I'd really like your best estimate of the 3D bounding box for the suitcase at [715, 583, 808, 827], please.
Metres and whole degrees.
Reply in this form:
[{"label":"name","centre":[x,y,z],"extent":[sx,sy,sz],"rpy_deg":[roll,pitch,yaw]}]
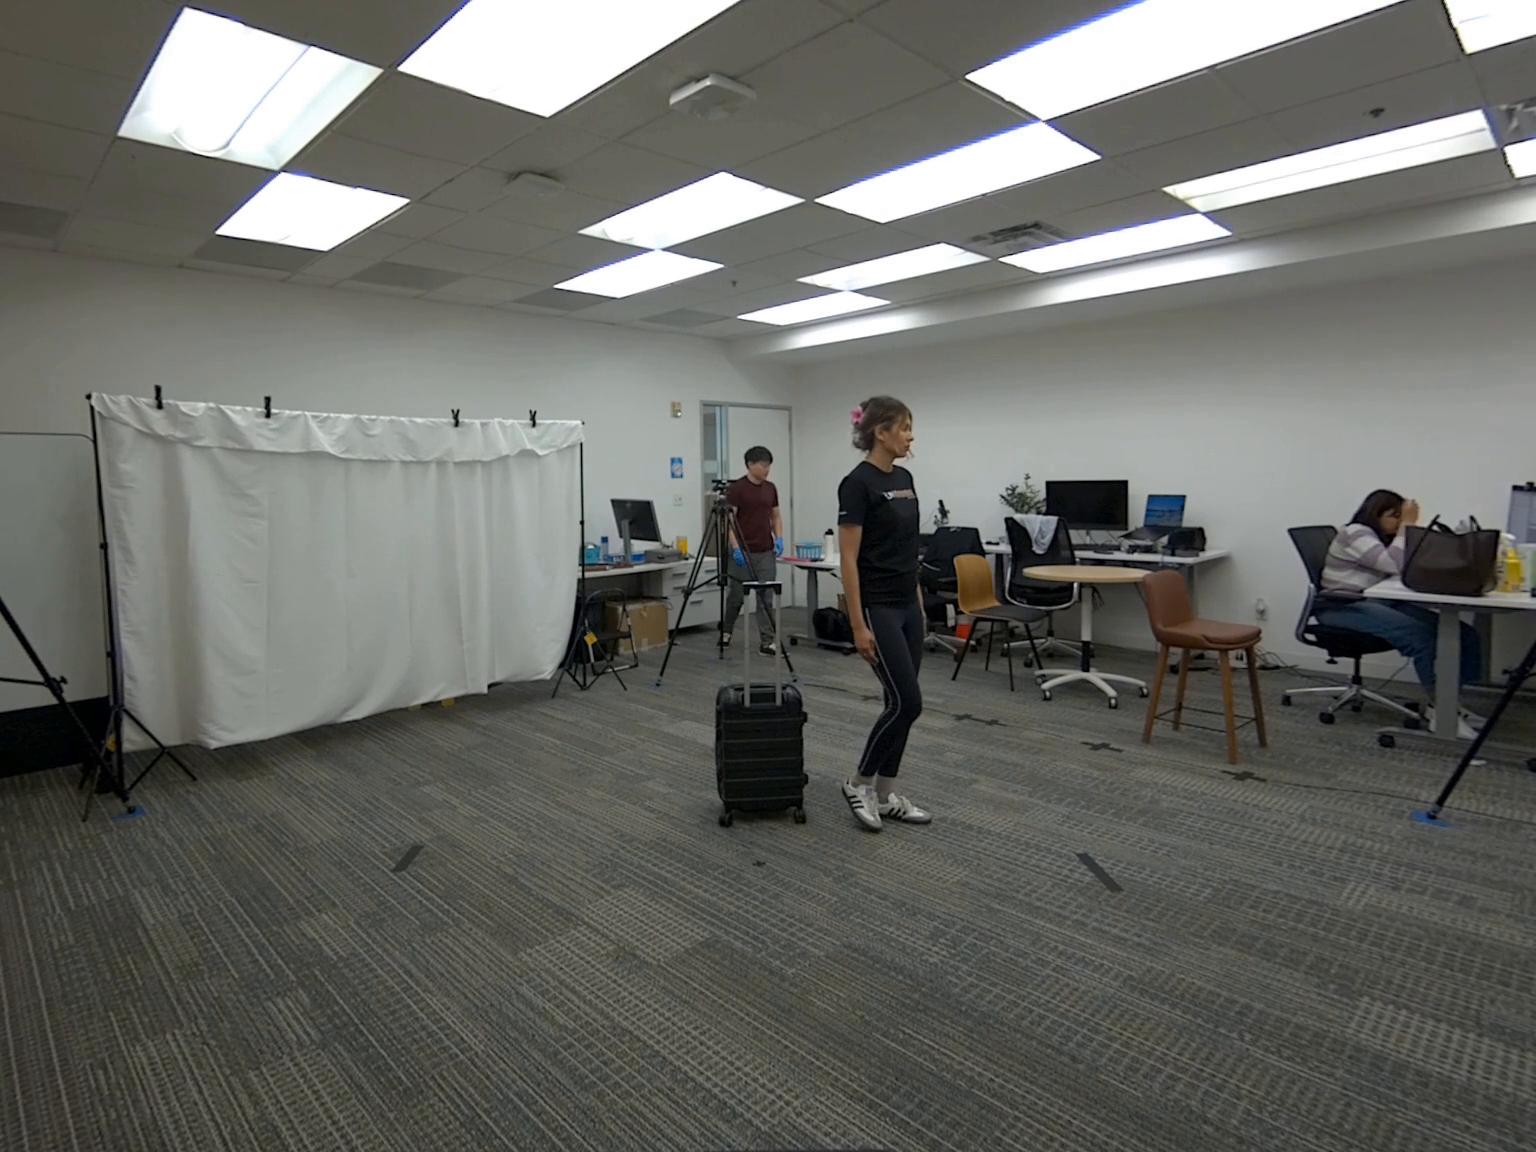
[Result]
[{"label":"suitcase","centre":[-0.036,0.520,3.570],"extent":[0.382,0.978,0.258],"rpy_deg":[-1,1,-4]}]
